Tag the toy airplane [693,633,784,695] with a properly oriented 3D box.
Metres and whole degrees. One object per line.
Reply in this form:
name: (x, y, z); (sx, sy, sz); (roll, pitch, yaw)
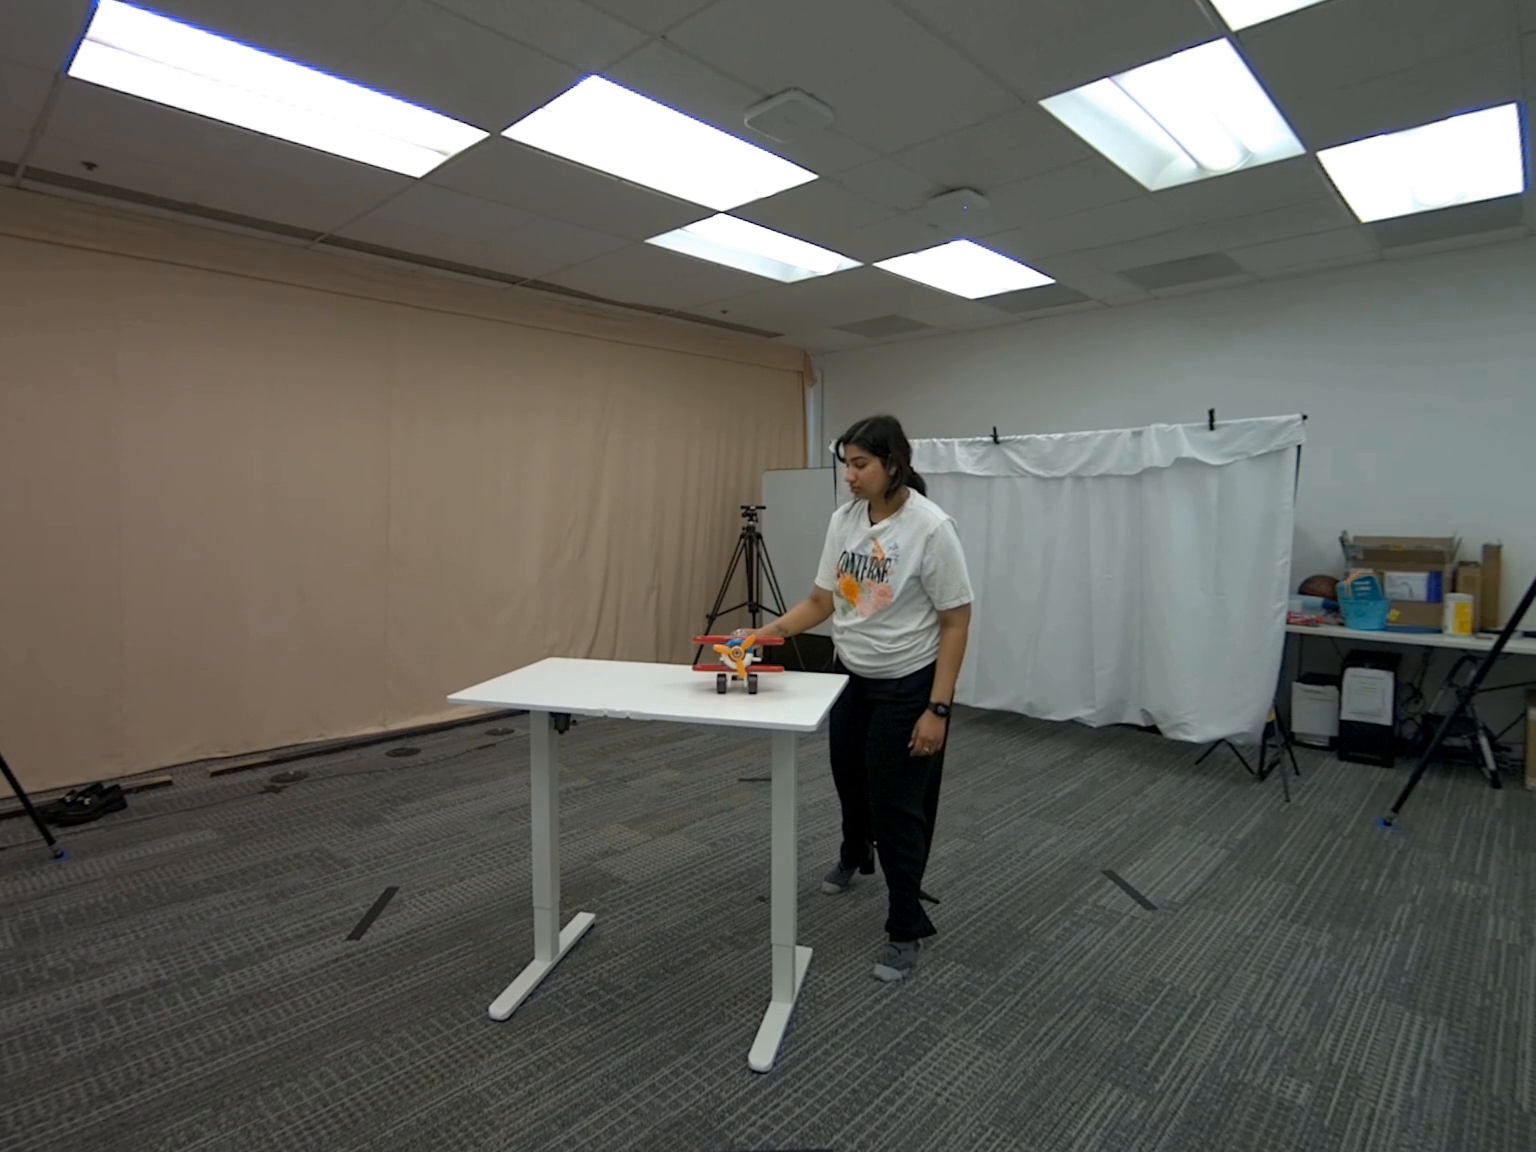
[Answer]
toy airplane: (-0.098, 0.235, 2.392); (0.246, 0.155, 0.266); (-5, 10, -22)
